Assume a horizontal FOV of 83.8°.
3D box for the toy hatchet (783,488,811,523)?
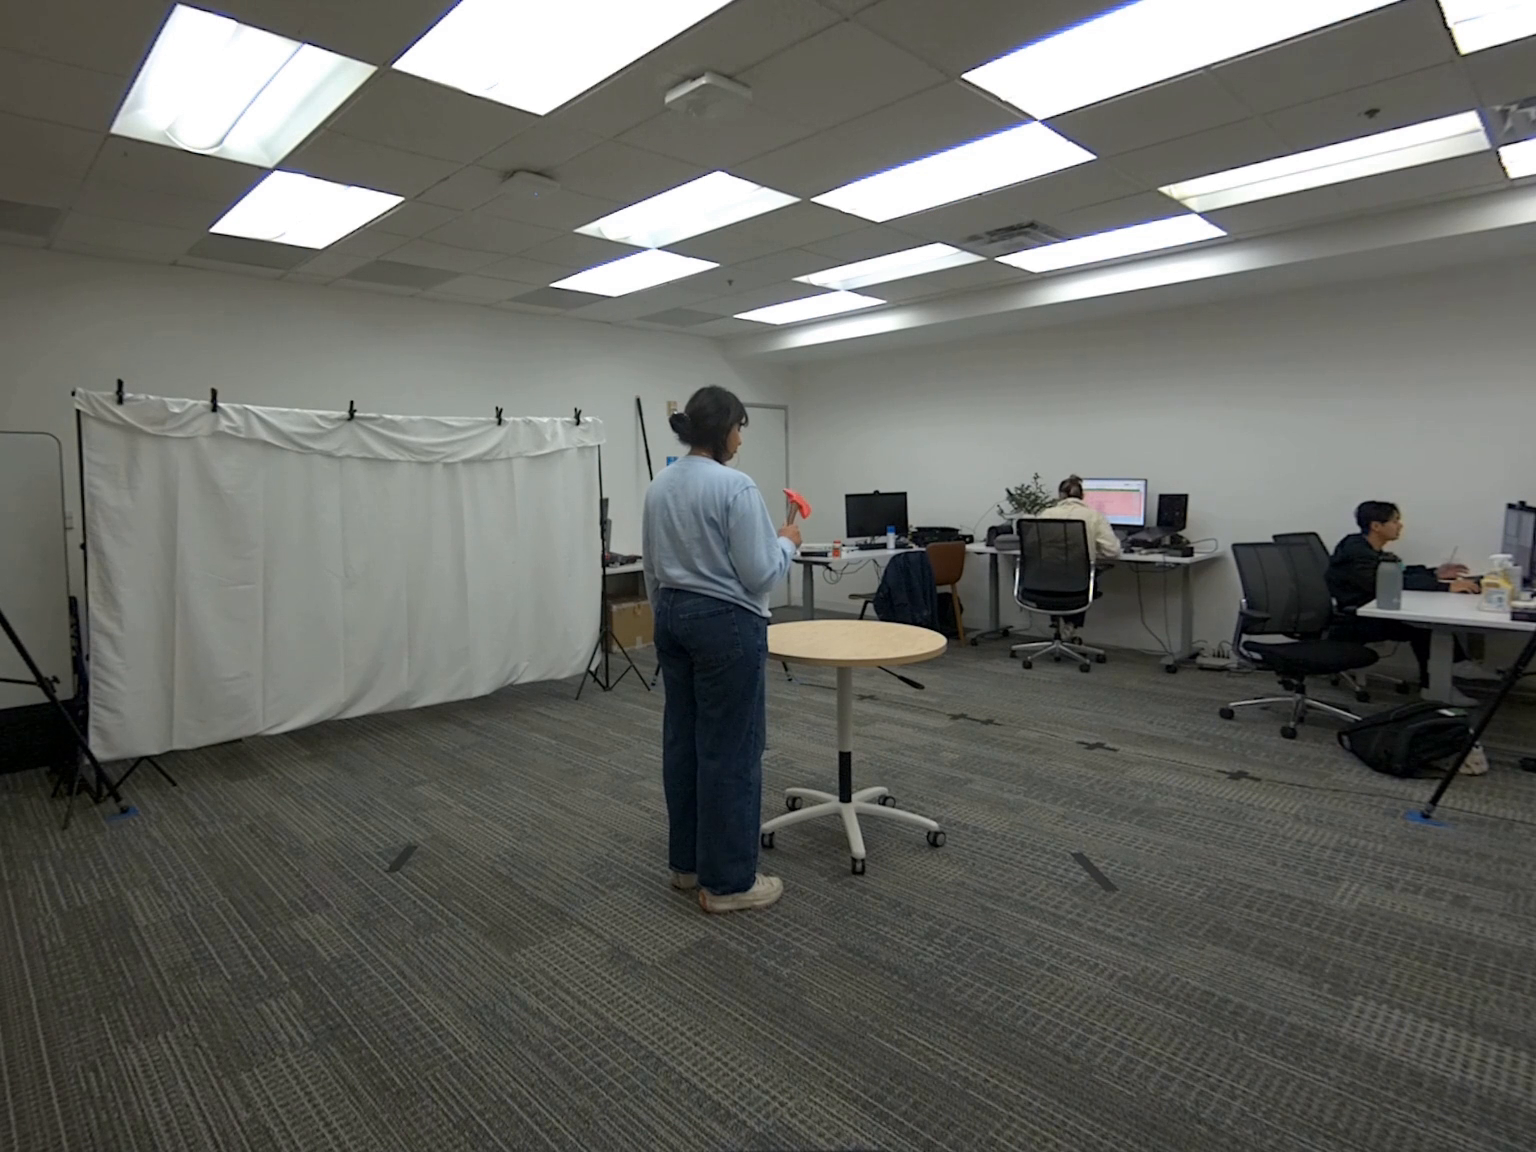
[{"bbox_3d":[0.109,-0.181,3.005,0.127,0.277,0.030,23,-39,-33],"label":"toy hatchet"}]
